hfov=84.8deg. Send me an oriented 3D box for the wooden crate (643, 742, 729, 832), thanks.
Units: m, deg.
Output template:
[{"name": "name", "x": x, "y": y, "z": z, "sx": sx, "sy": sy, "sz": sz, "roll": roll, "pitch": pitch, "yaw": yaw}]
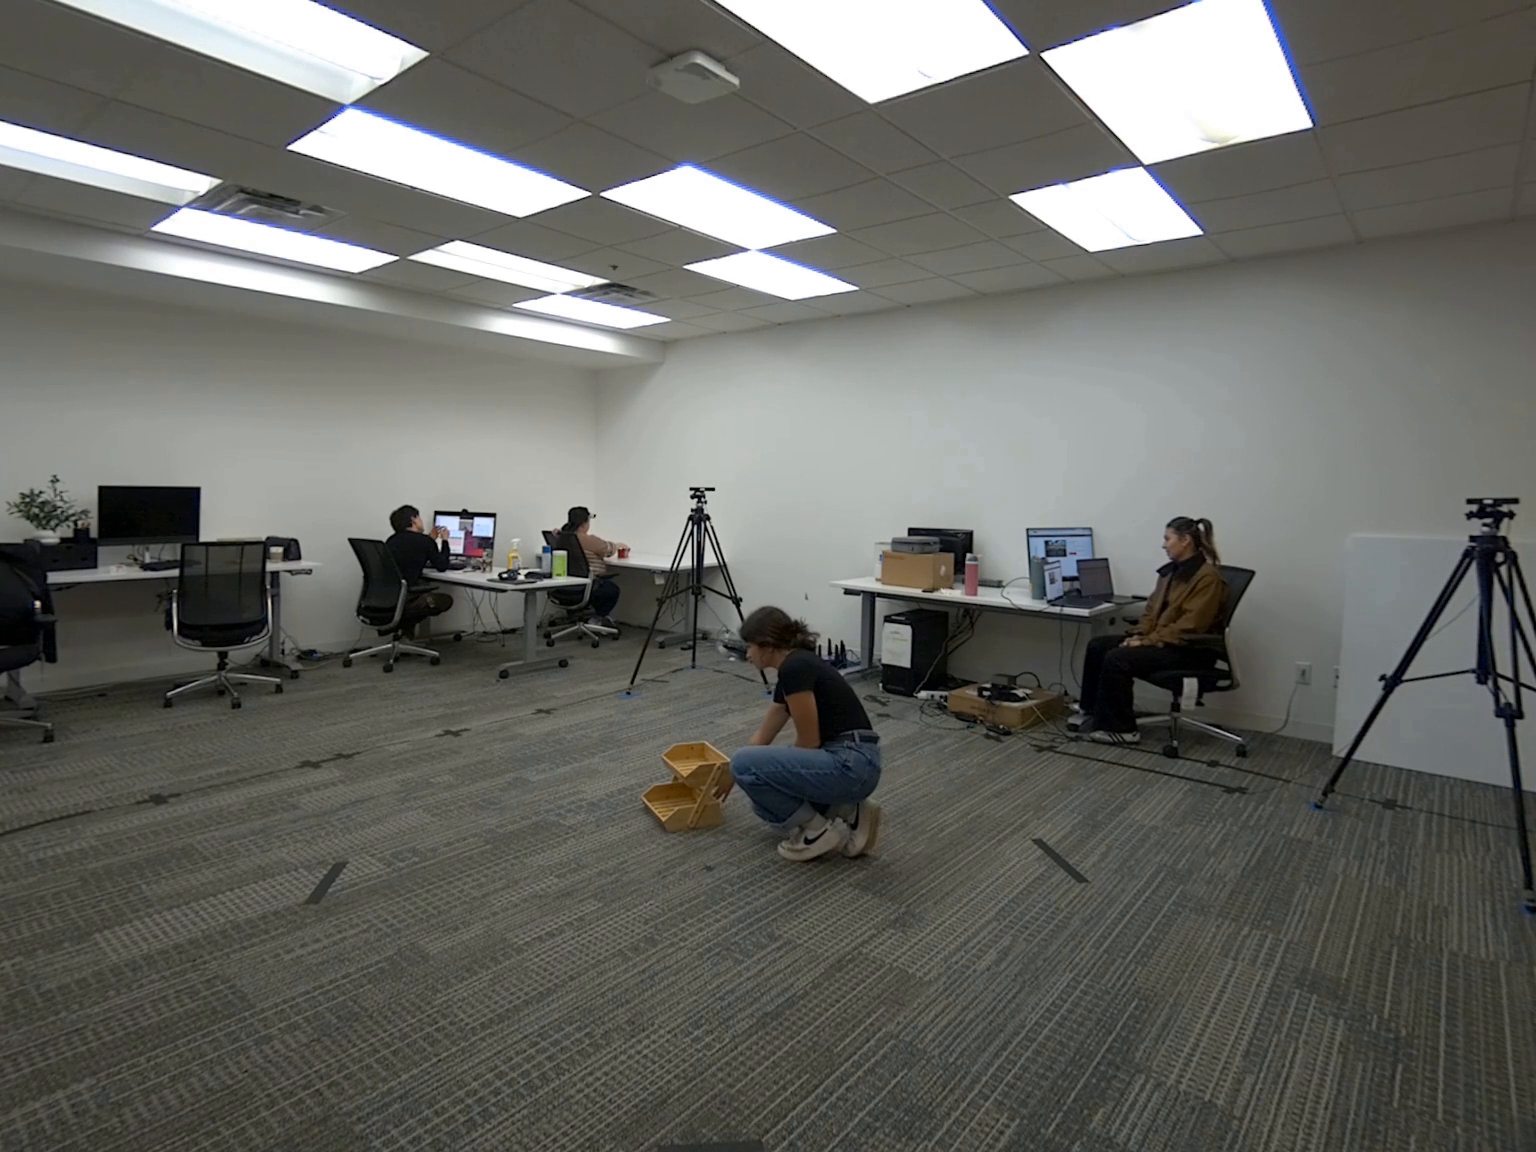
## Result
[{"name": "wooden crate", "x": -0.367, "y": 0.880, "z": 3.619, "sx": 0.295, "sy": 0.272, "sz": 0.333, "roll": -1, "pitch": 5, "yaw": -26}]
